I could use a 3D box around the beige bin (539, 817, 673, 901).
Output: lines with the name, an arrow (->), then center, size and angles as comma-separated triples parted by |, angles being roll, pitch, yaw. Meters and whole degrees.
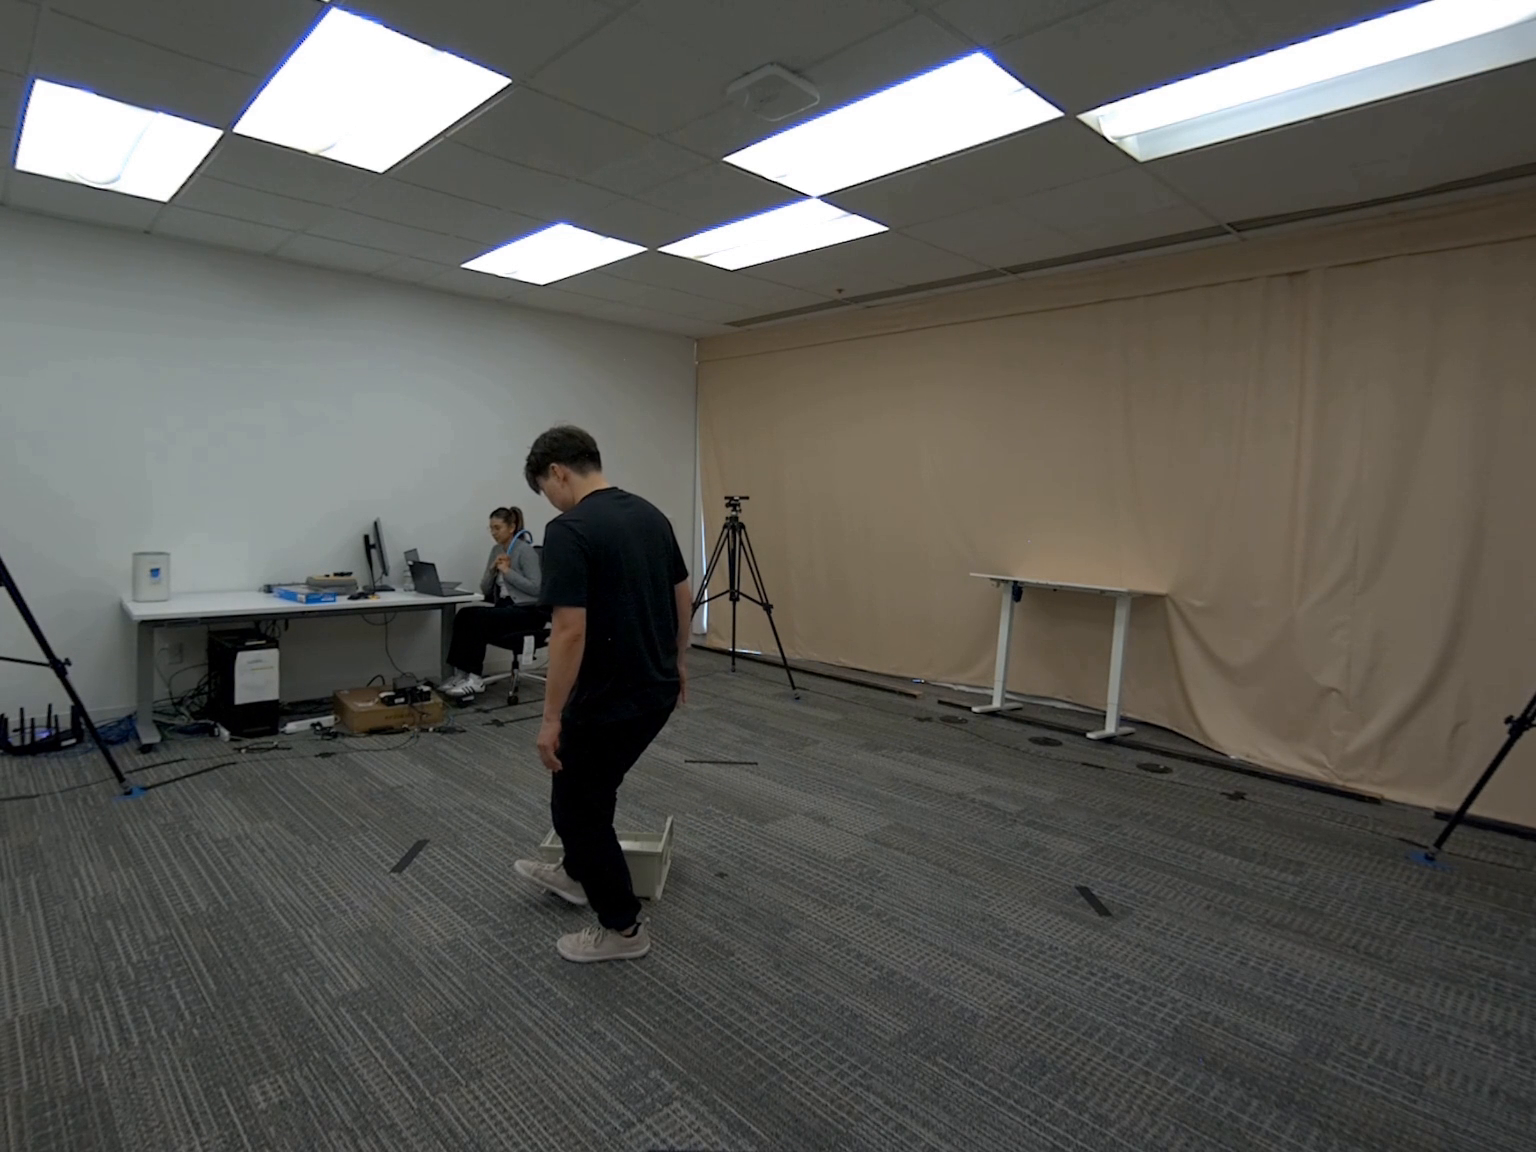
beige bin -> -0.581, 1.011, 3.072 | 0.423, 0.188, 0.378 | 2, 6, 1
